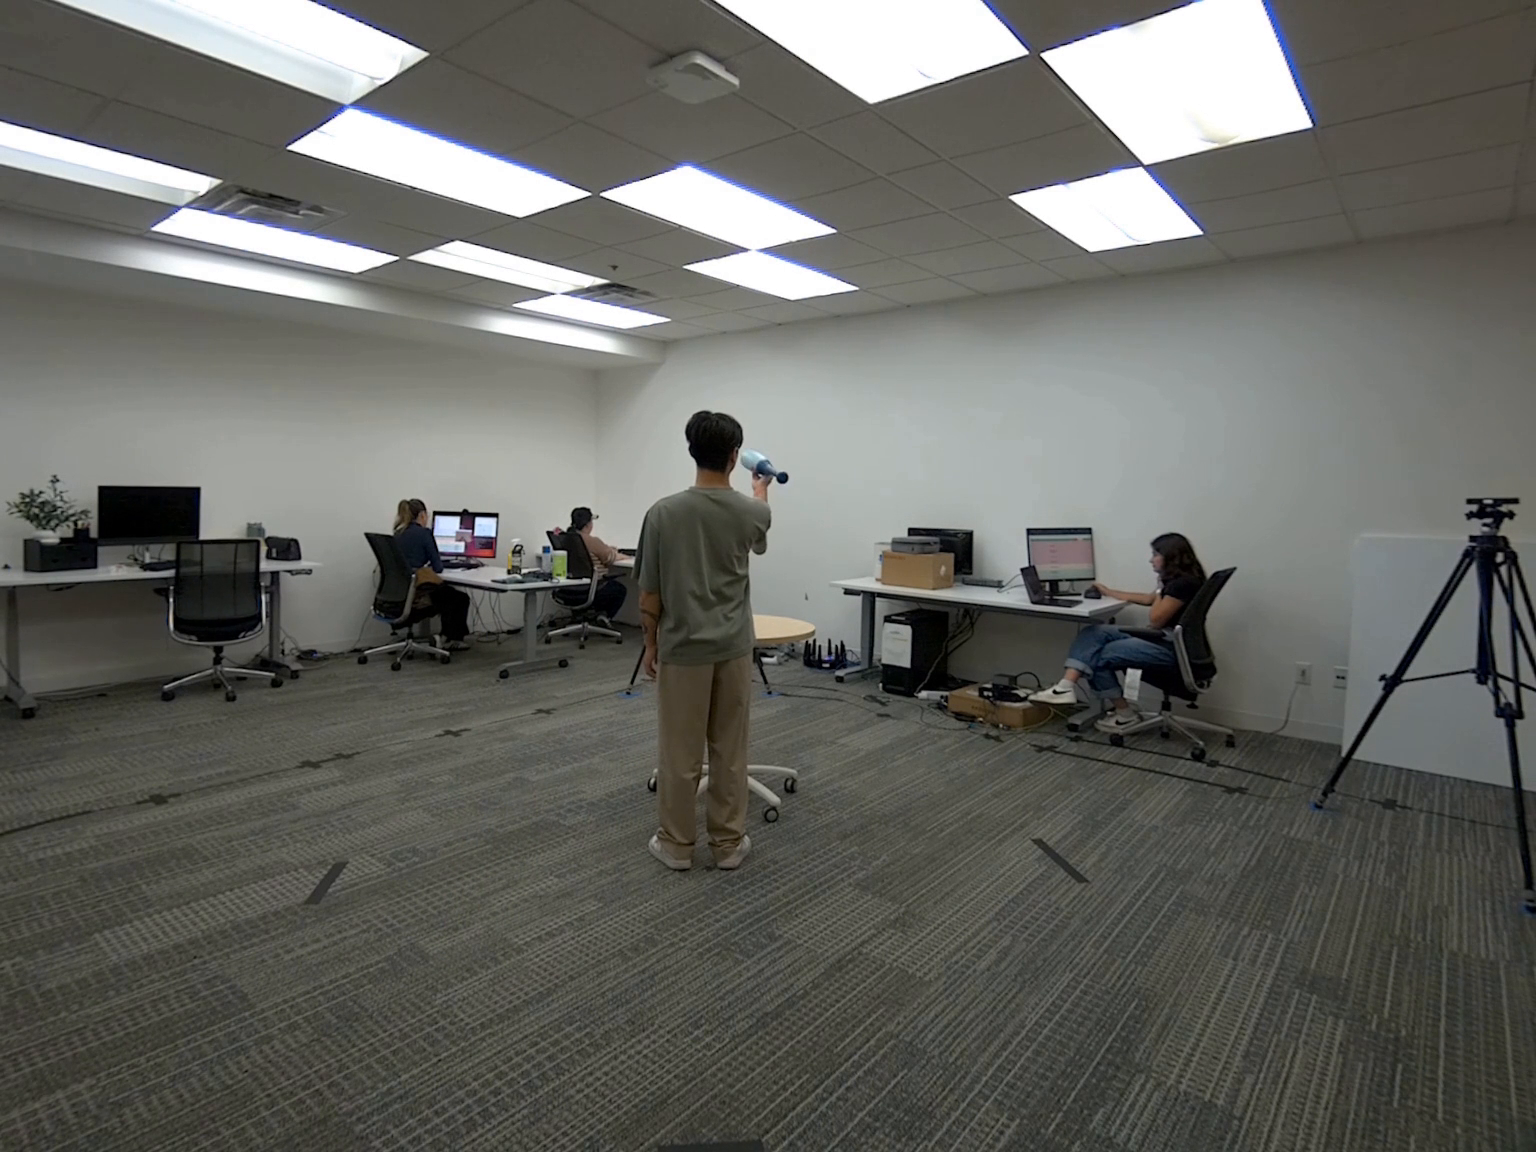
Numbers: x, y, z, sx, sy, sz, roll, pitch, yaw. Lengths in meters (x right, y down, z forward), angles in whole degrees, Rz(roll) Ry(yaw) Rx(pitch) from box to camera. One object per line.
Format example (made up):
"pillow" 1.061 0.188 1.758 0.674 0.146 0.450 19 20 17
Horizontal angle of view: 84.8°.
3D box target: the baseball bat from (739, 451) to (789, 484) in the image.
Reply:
"baseball bat" -0.020 -0.466 3.641 0.087 0.088 0.559 -1 17 -17
